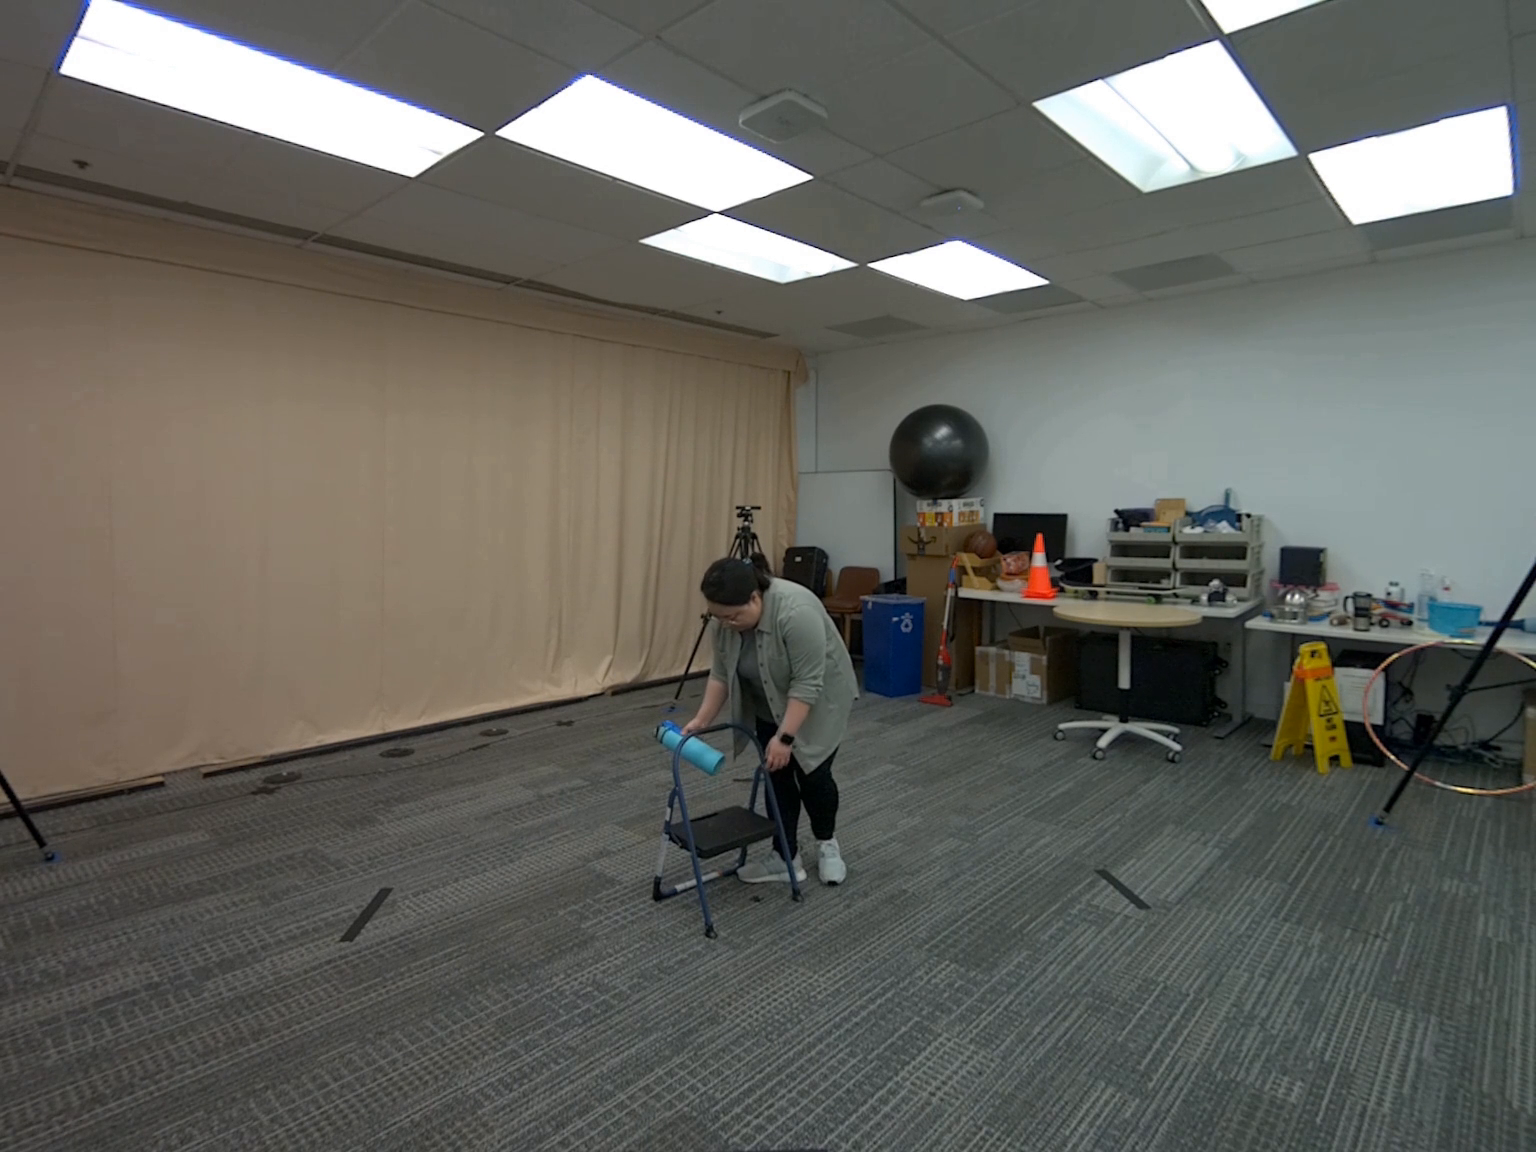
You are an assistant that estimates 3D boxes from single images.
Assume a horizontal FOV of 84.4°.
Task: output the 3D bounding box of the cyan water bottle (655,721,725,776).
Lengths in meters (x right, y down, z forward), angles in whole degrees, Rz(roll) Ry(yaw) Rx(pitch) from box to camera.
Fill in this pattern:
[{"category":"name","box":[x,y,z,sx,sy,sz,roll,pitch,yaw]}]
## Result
[{"category":"cyan water bottle","box":[-0.293,0.636,3.116,0.291,0.092,0.090,26,13,21]}]
